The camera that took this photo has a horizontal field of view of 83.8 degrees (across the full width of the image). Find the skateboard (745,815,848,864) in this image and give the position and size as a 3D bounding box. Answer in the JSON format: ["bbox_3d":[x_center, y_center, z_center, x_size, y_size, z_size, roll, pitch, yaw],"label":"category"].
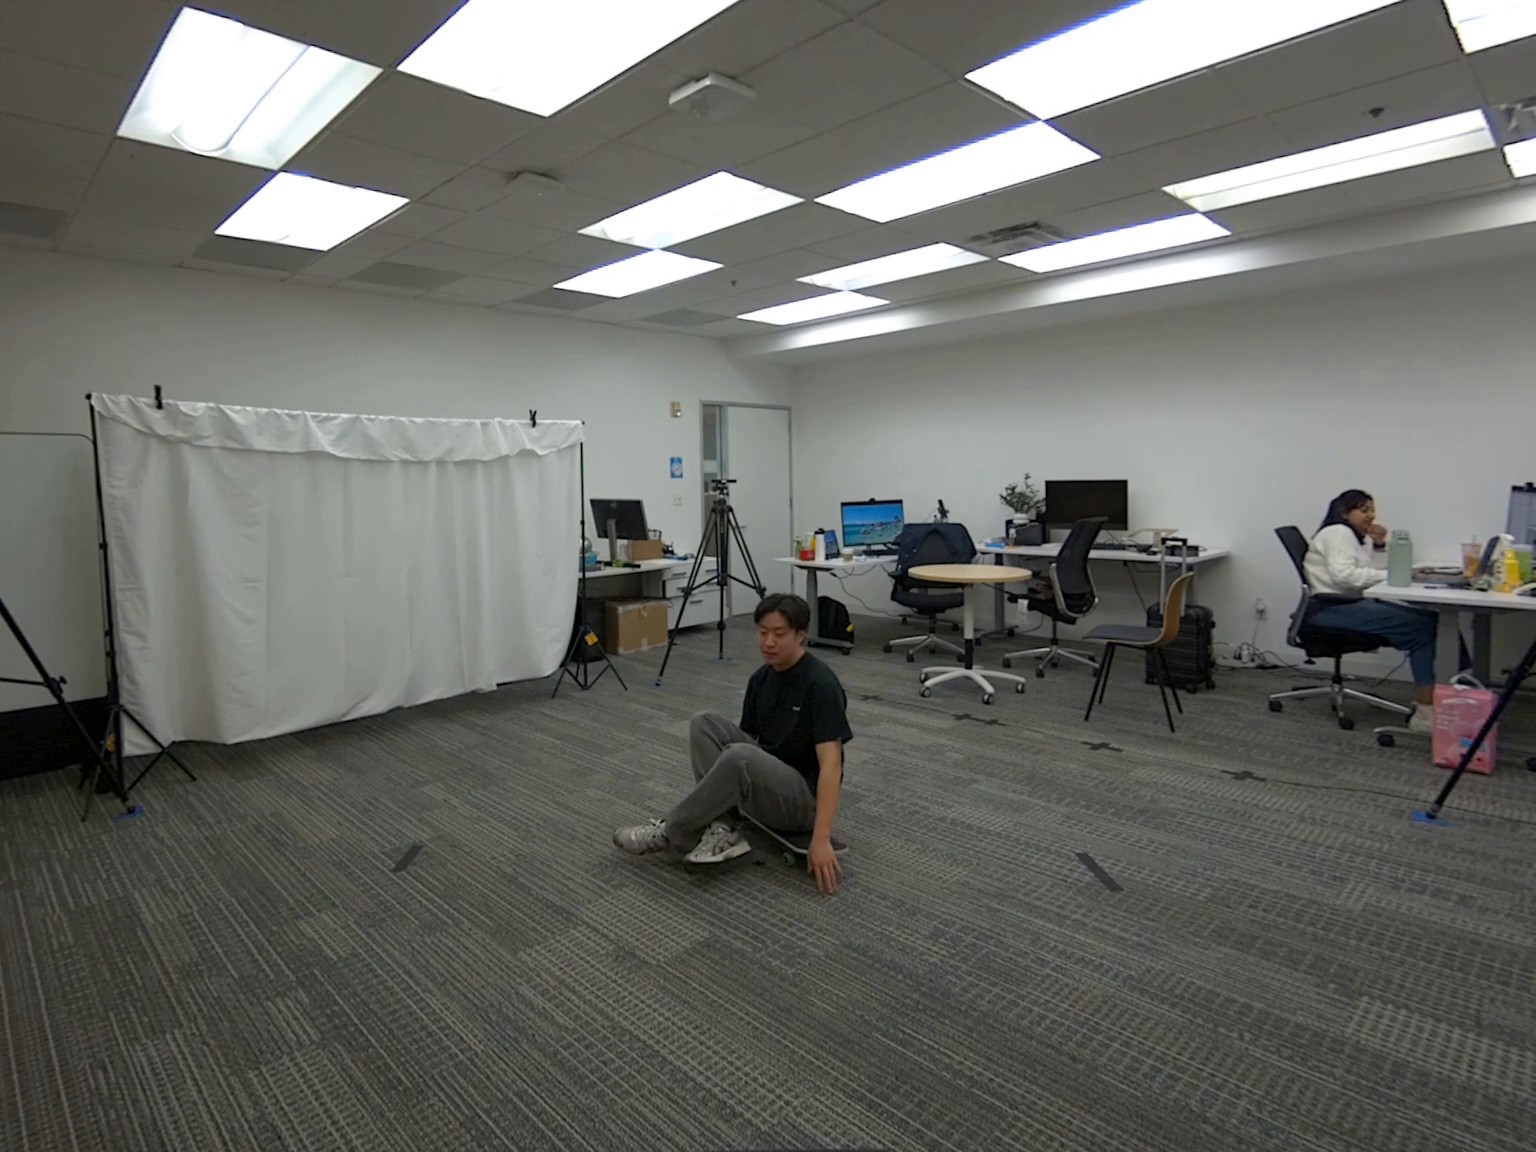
[{"bbox_3d":[0.043,0.969,3.301,0.188,0.110,0.807,3,4,-29],"label":"skateboard"}]
